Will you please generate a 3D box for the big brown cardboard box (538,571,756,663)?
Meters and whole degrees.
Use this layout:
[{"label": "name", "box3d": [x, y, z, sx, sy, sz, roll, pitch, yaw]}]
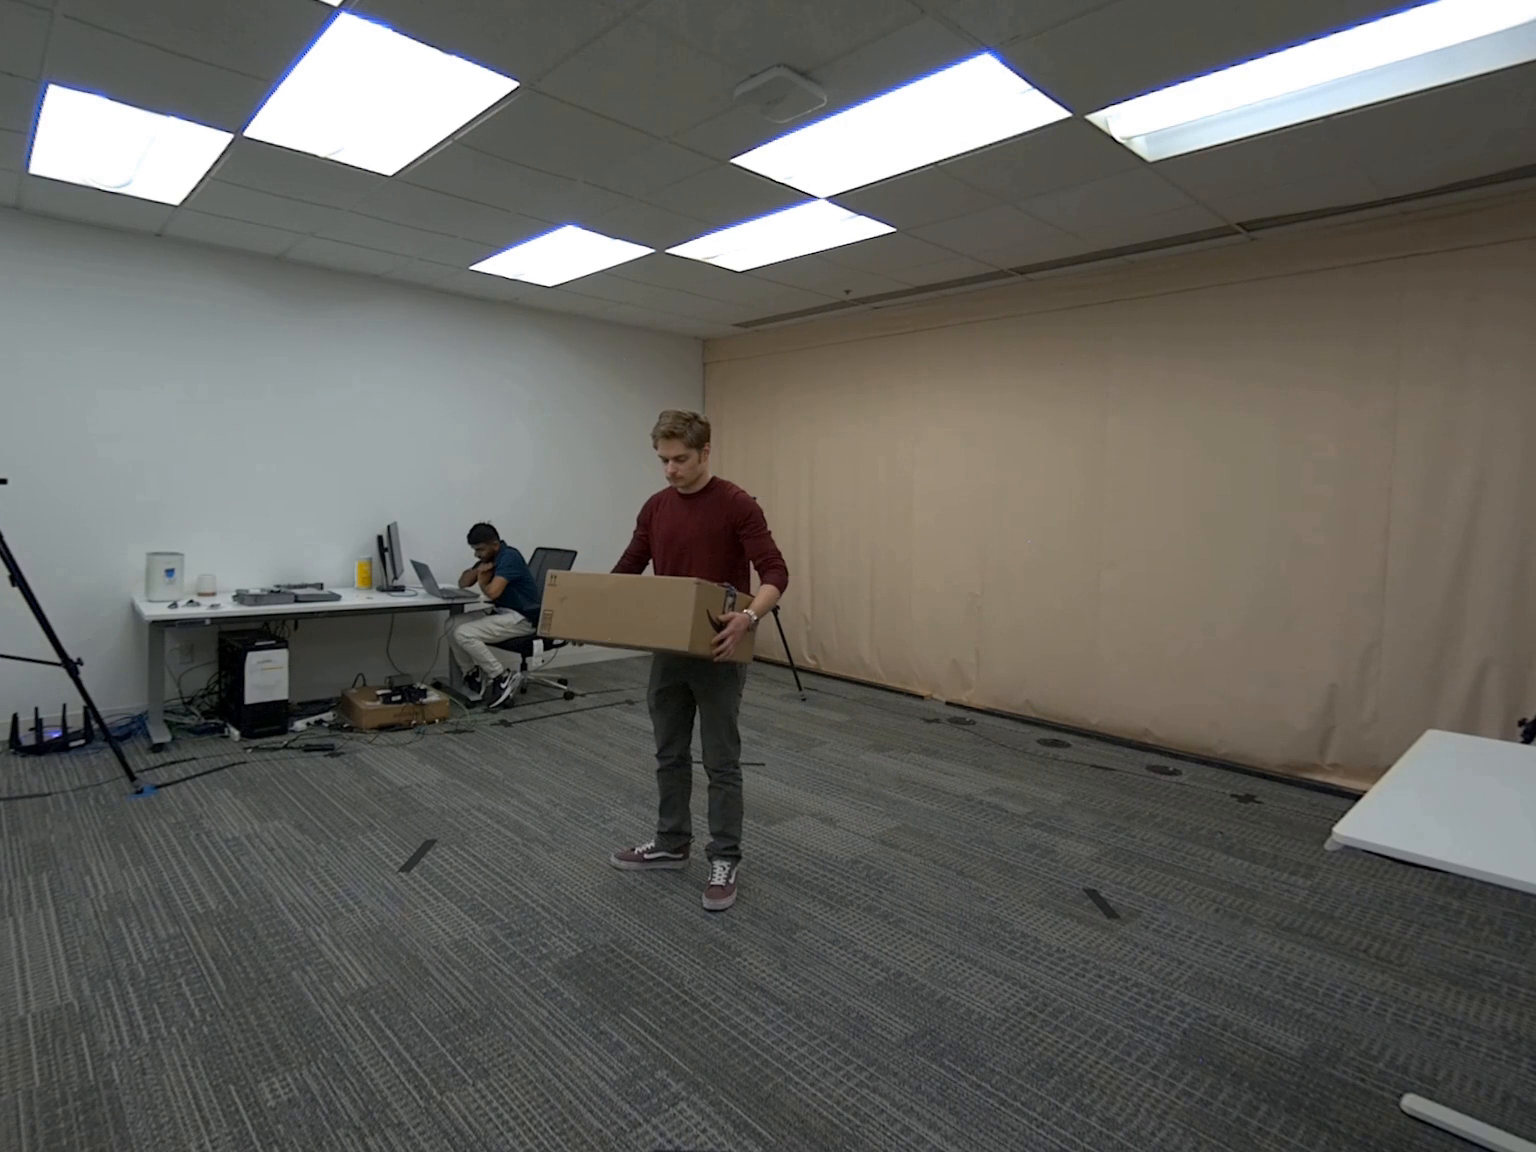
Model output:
[{"label": "big brown cardboard box", "box3d": [-0.386, 0.134, 2.728, 0.601, 0.234, 0.407, 2, -9, 28]}]
